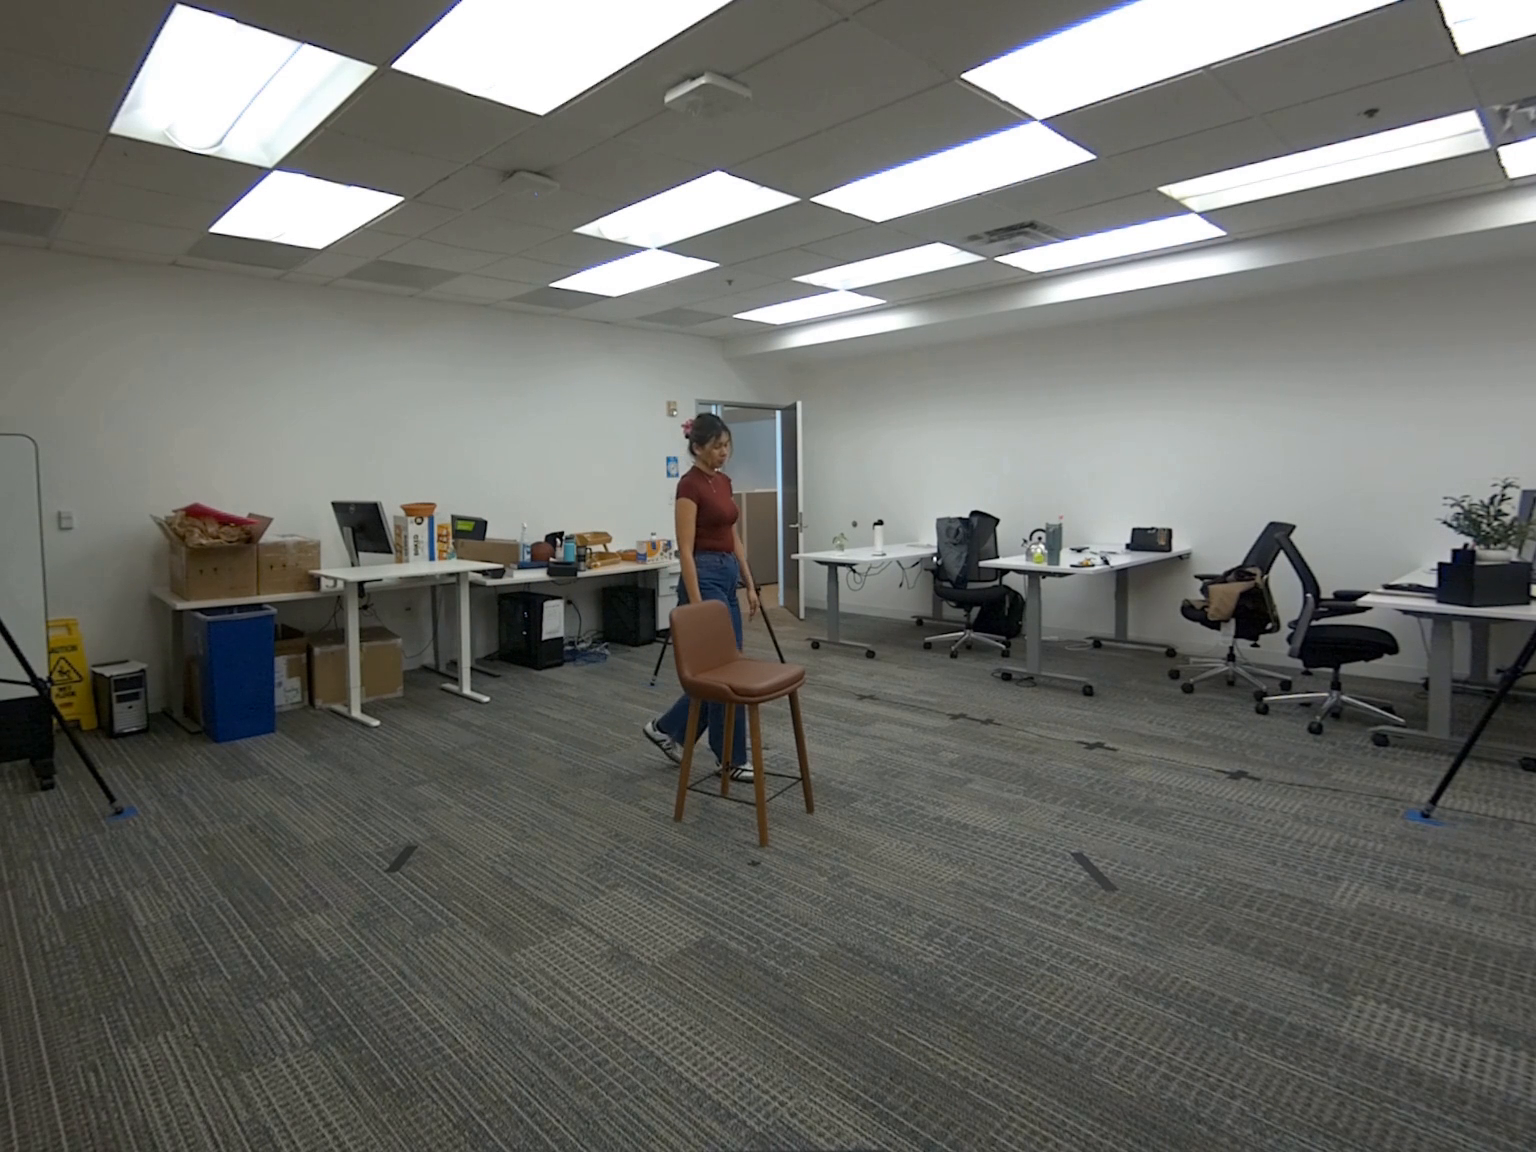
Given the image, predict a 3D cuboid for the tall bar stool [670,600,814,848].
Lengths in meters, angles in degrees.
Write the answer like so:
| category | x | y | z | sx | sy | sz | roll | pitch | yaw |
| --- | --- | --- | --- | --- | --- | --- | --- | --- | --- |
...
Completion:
| category | x | y | z | sx | sy | sz | roll | pitch | yaw |
| --- | --- | --- | --- | --- | --- | --- | --- | --- | --- |
| tall bar stool | -0.111 | 0.567 | 3.515 | 0.480 | 0.888 | 0.445 | 0 | 3 | 33 |
